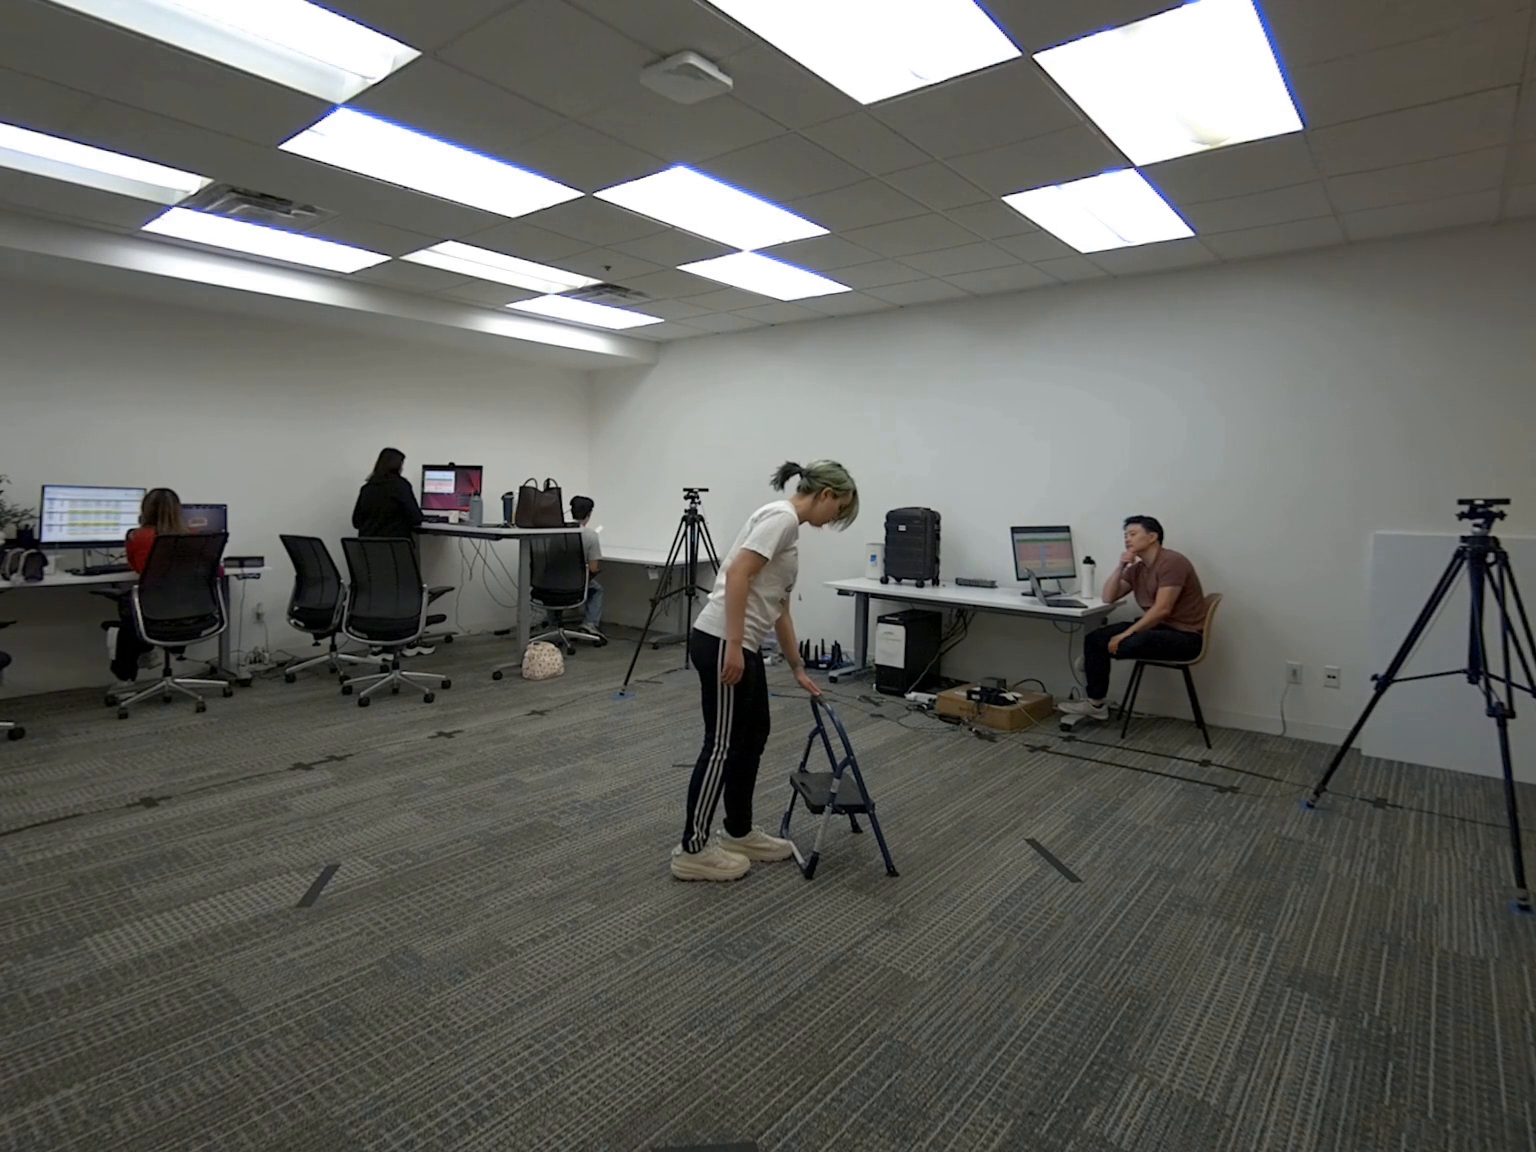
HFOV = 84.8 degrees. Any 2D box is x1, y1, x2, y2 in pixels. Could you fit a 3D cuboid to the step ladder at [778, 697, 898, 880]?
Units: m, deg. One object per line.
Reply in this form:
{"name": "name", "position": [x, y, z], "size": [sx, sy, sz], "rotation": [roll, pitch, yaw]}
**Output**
{"name": "step ladder", "position": [0.258, 0.767, 3.253], "size": [0.345, 0.604, 0.438], "rotation": [1, 4, -13]}
